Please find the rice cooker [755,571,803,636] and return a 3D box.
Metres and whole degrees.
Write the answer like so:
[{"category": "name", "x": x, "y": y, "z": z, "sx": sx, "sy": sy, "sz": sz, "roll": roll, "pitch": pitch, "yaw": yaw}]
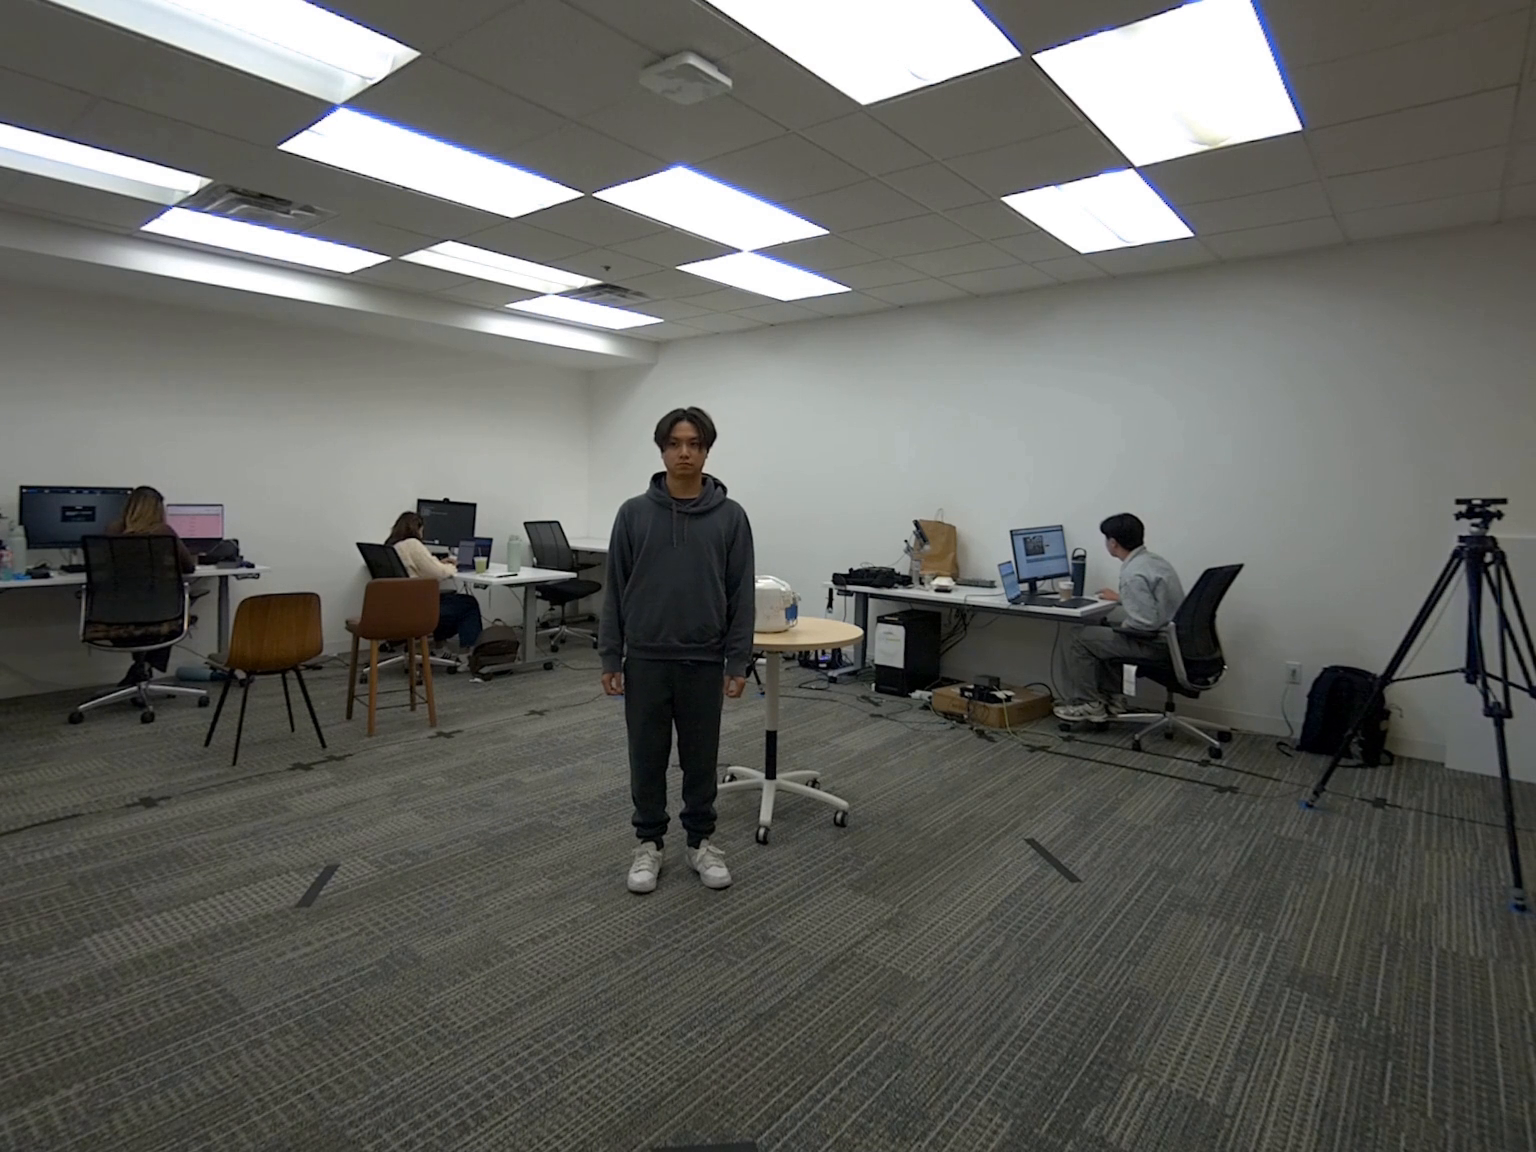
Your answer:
[{"category": "rice cooker", "x": -0.012, "y": 0.111, "z": 3.606, "sx": 0.228, "sy": 0.232, "sz": 0.211, "roll": 5, "pitch": 5, "yaw": 39}]
